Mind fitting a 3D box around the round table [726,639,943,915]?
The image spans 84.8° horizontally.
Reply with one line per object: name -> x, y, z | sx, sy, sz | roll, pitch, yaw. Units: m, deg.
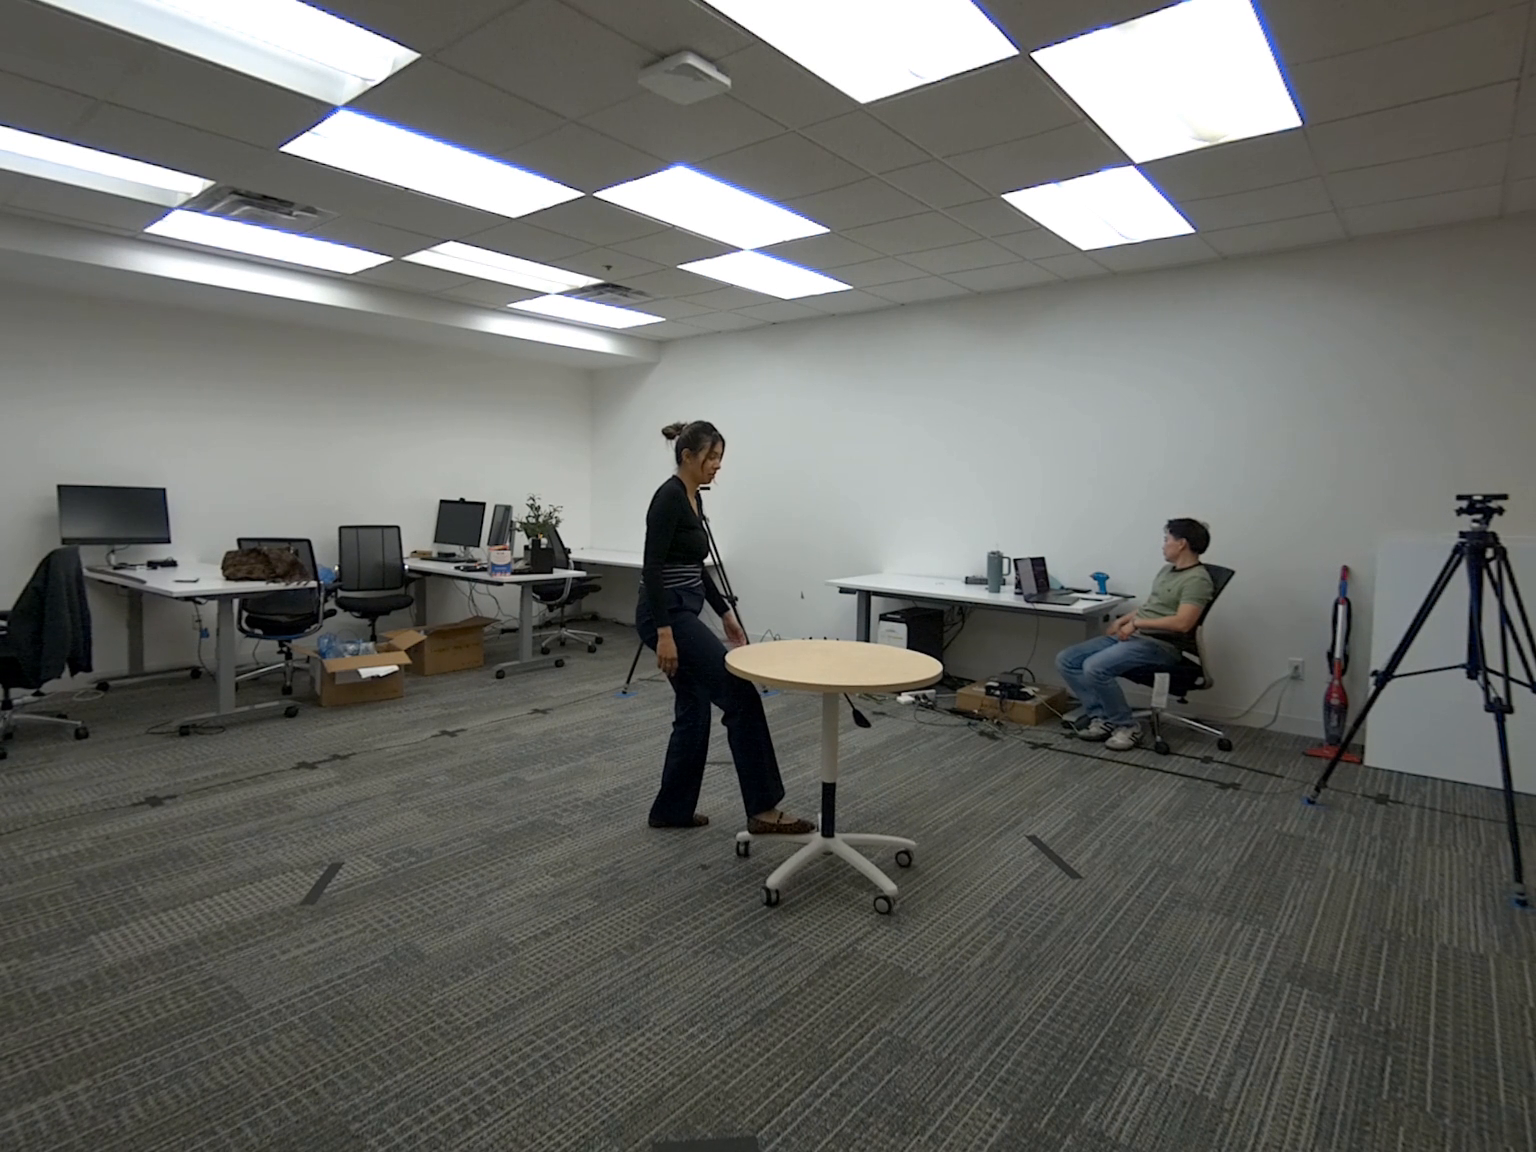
round table -> 0.214, 0.690, 3.066 | 0.763, 0.791, 0.768 | 1, 5, -2
